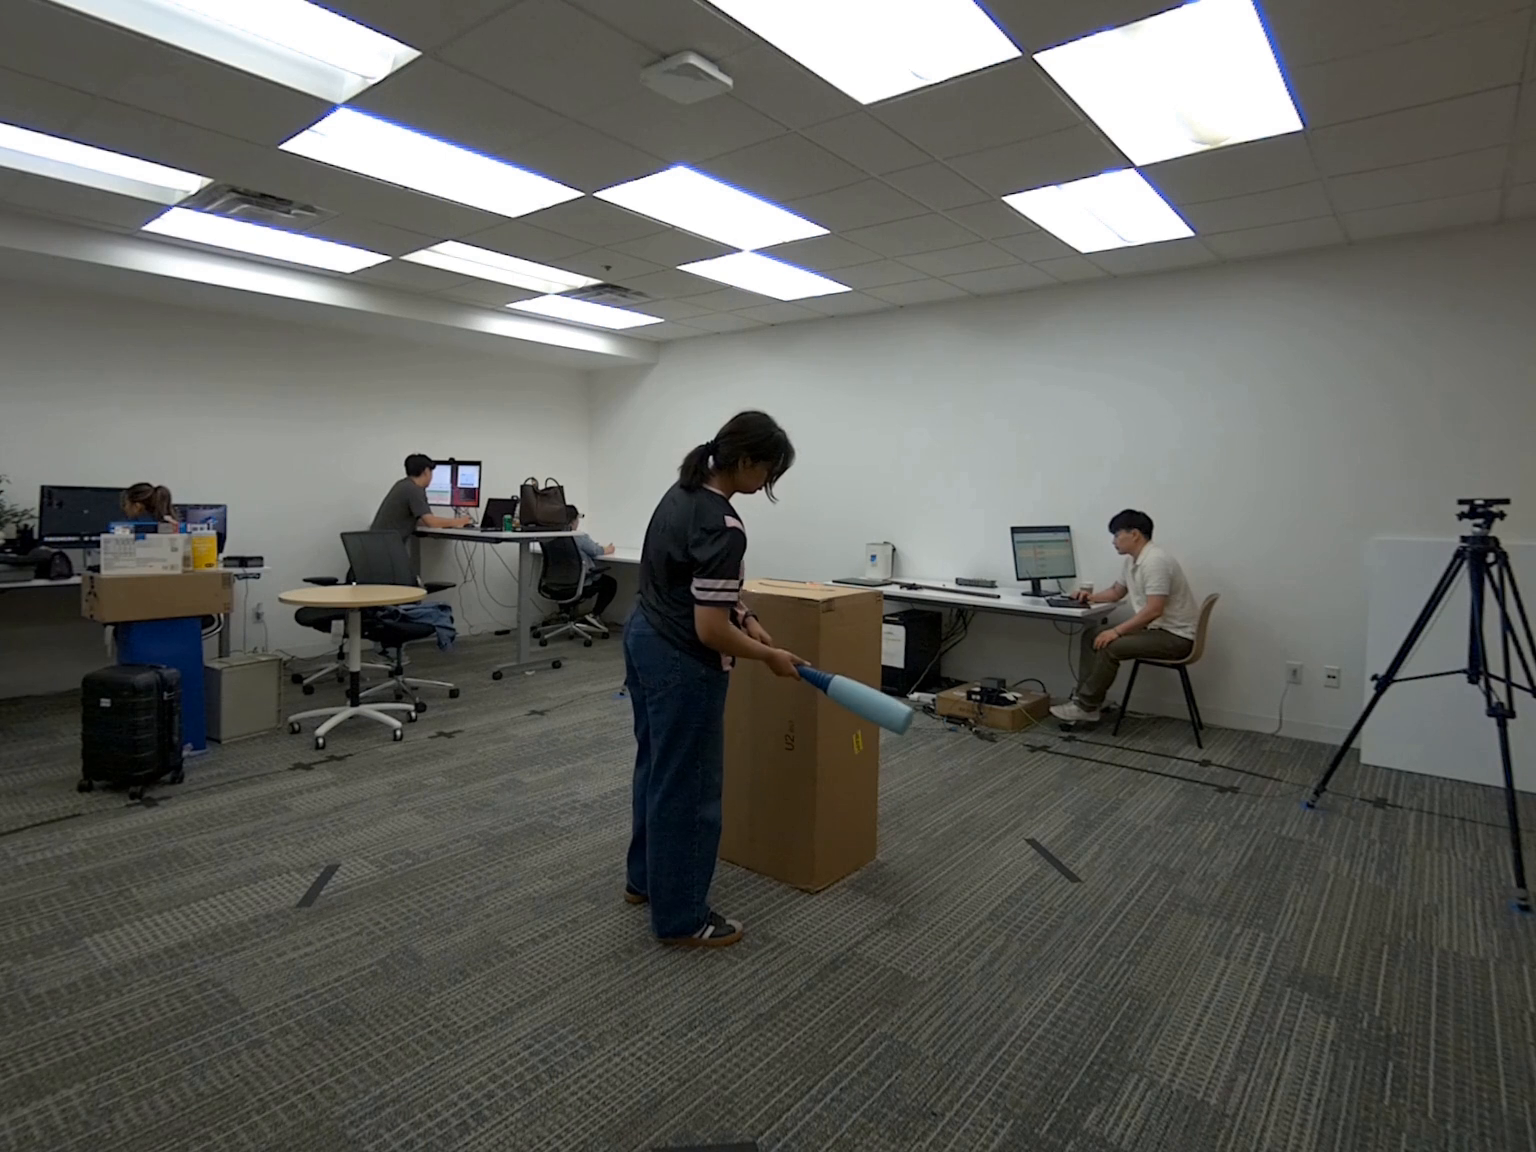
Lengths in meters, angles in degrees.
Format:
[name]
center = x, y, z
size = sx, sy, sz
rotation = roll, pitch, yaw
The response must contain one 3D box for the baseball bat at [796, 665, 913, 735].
[baseball bat]
center = 0.157, 0.307, 2.534
size = 0.562, 0.088, 0.087
rotation = 21, 13, 29
